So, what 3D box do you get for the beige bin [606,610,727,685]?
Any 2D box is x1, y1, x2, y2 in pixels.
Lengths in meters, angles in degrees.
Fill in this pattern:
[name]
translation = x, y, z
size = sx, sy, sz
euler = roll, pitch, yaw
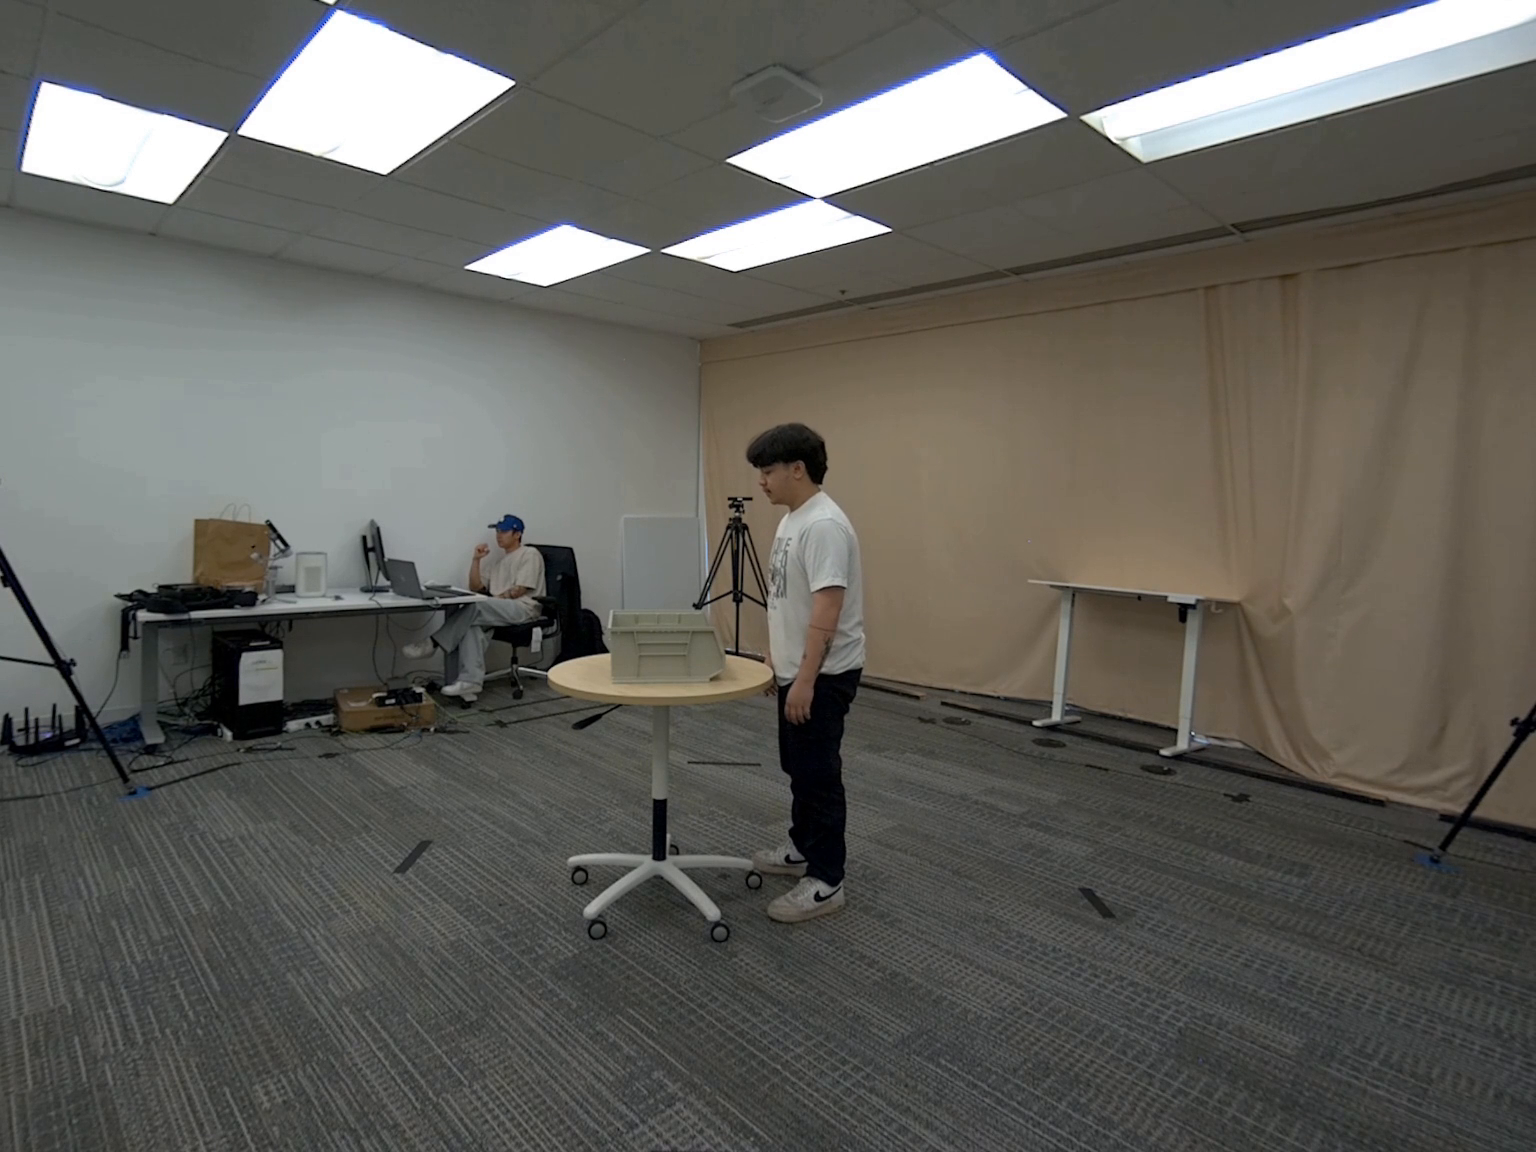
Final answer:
[beige bin]
translation = -0.357, 0.235, 2.891
size = 0.375, 0.188, 0.426
euler = -1, 5, -9
